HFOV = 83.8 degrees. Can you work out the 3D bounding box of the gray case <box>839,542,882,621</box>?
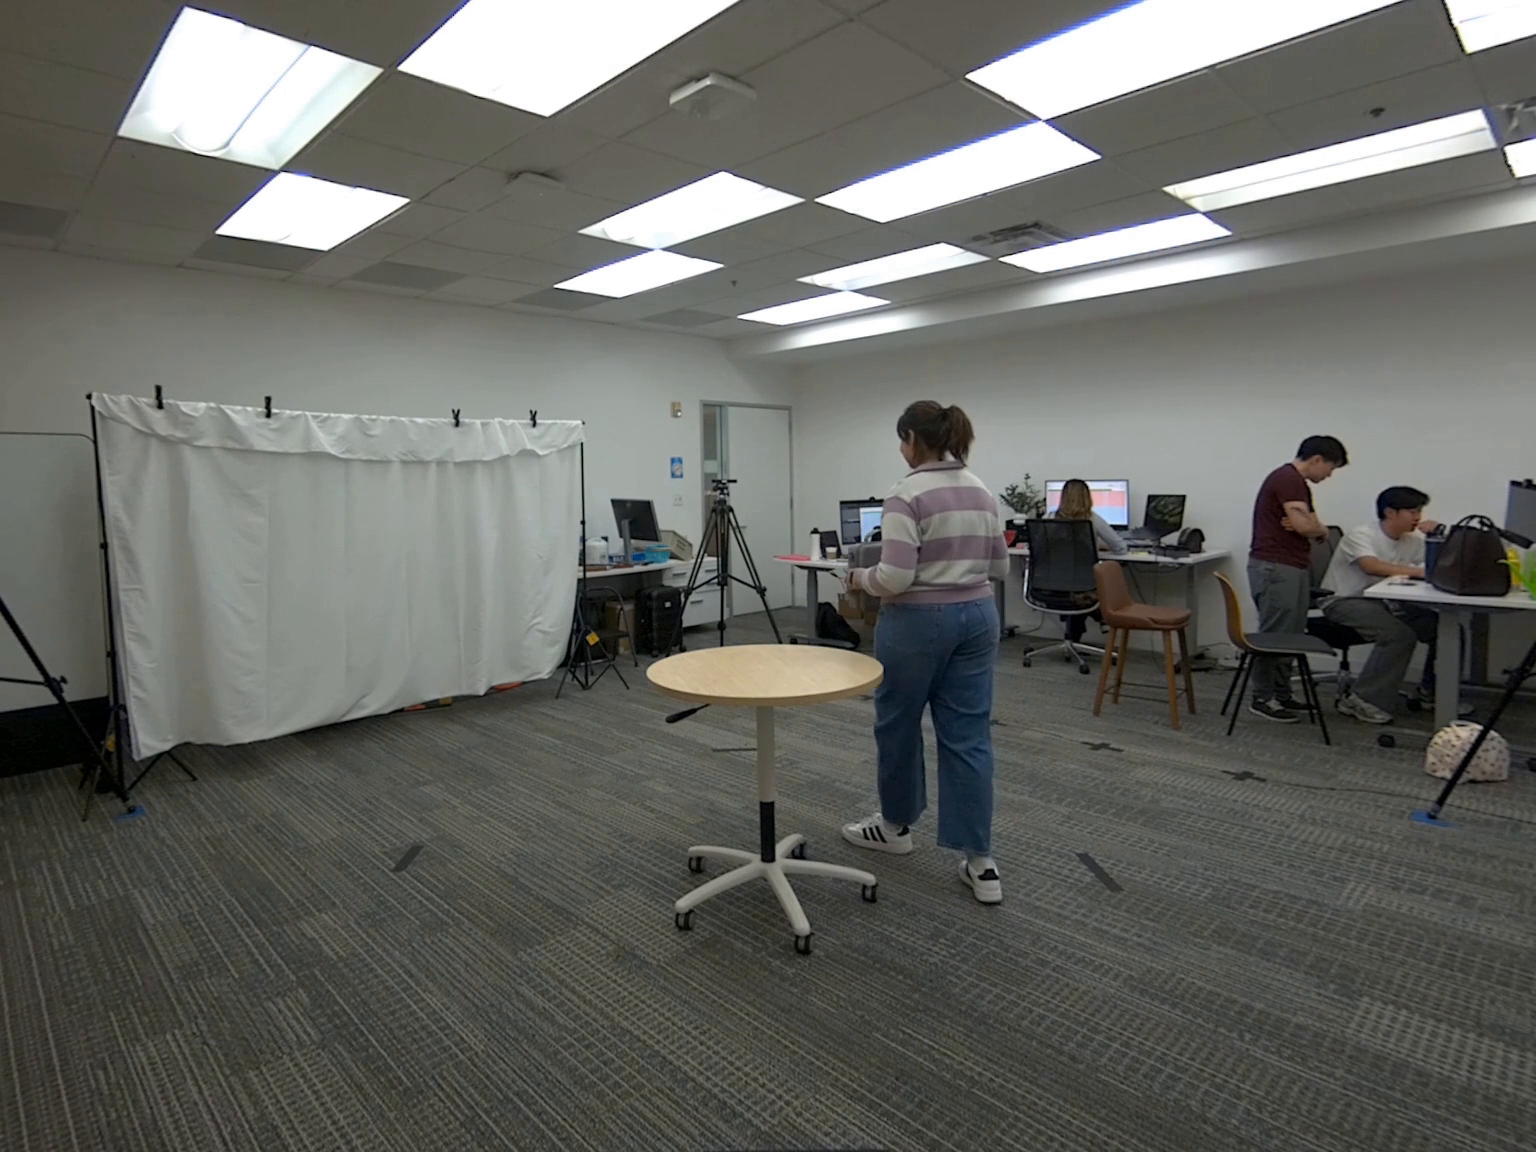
[{"bbox_3d":[0.438,-0.012,3.208,0.251,0.260,0.107,-4,4,-29],"label":"gray case"}]
